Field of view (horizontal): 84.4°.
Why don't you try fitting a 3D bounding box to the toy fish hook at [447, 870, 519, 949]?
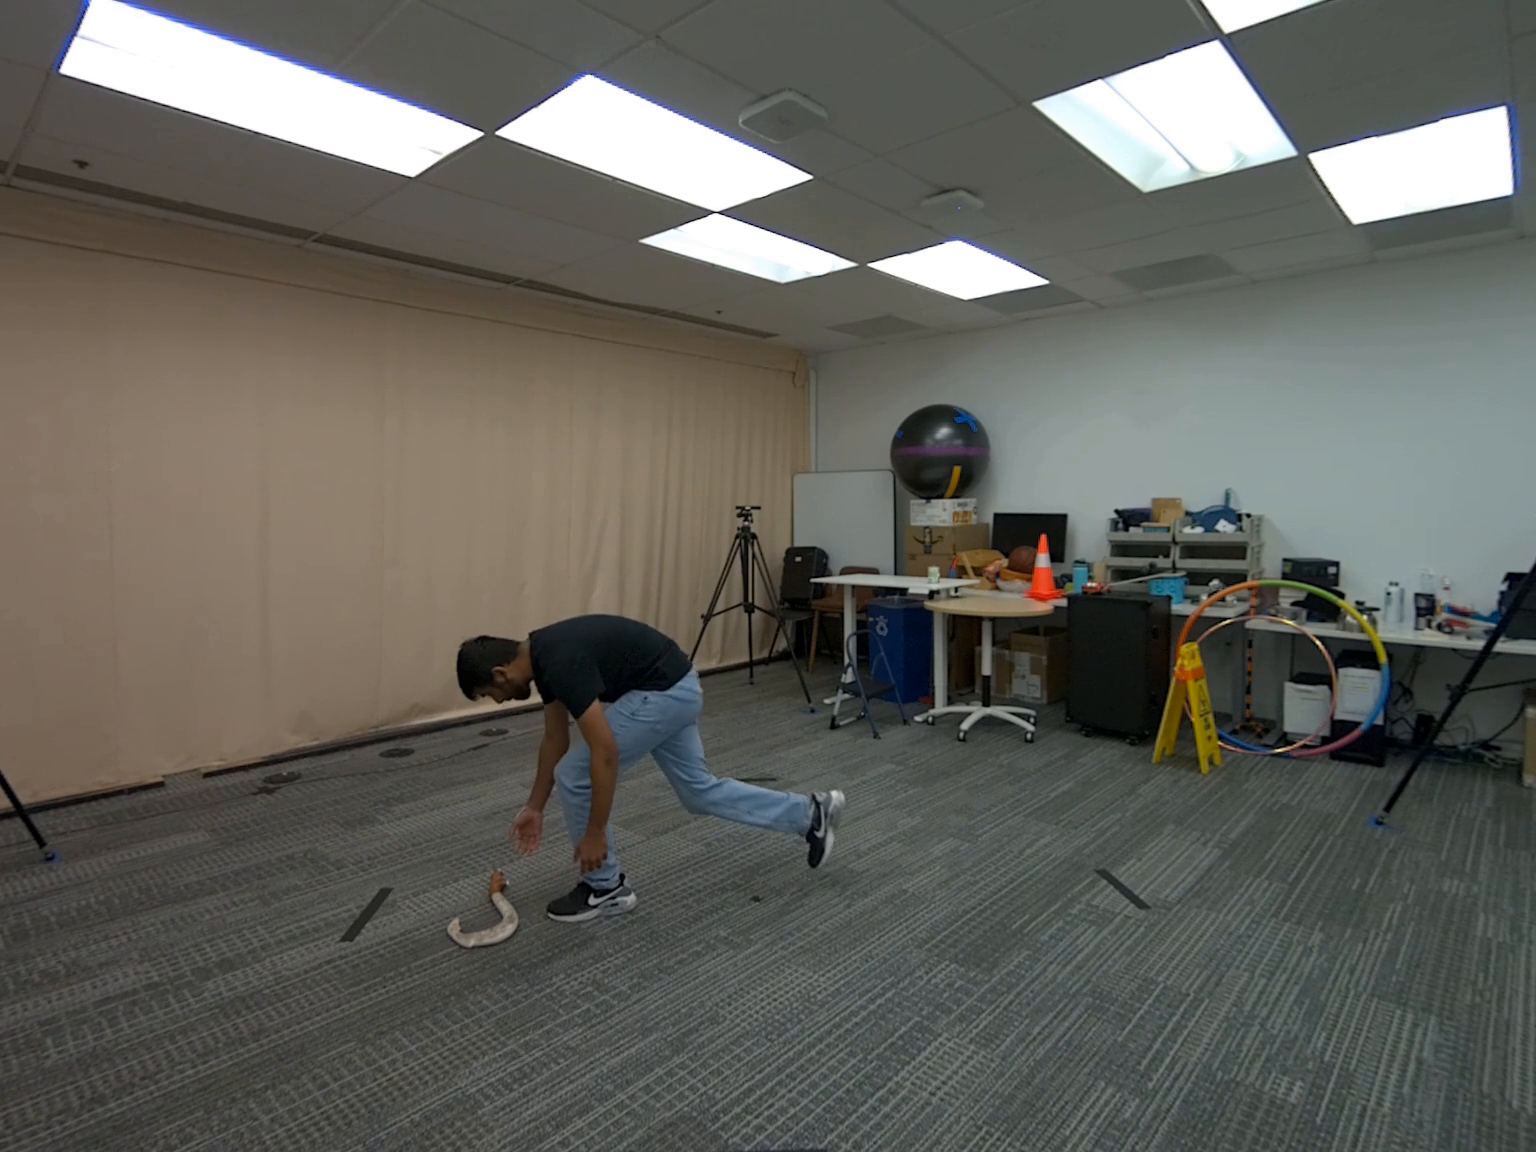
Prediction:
[{"bbox_3d":[-0.986,1.139,2.896,0.220,0.048,0.517,-1,4,-20],"label":"toy fish hook"}]
